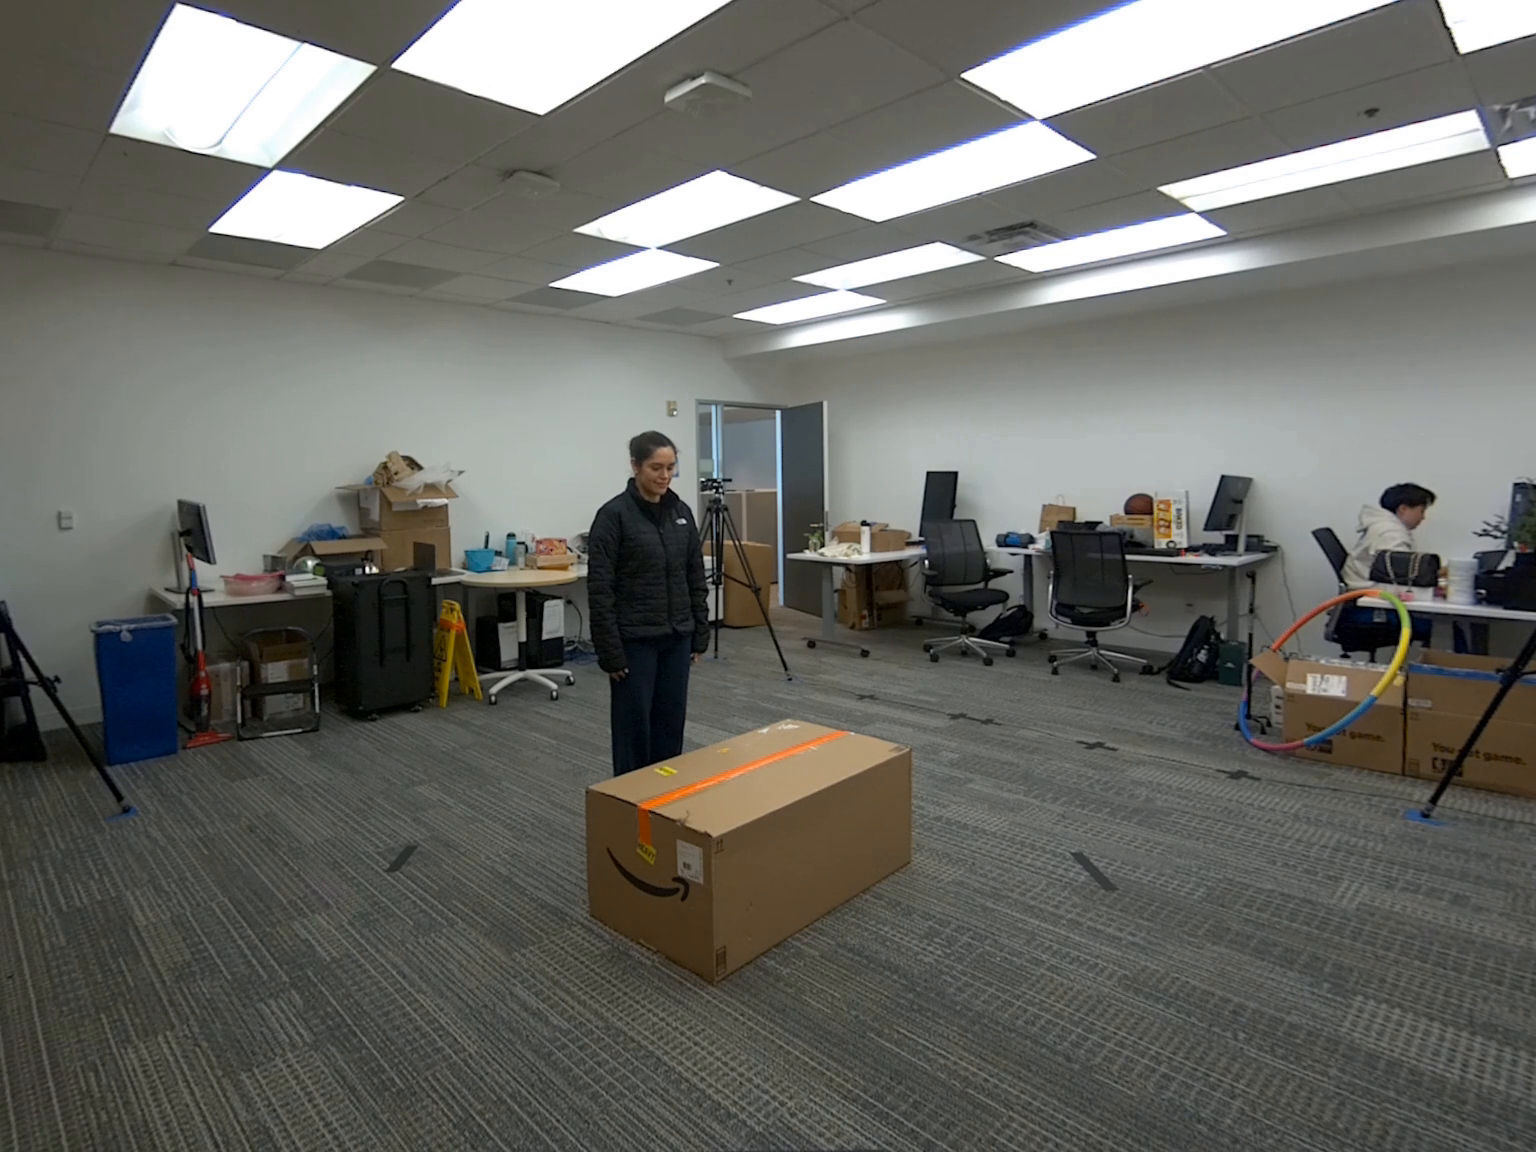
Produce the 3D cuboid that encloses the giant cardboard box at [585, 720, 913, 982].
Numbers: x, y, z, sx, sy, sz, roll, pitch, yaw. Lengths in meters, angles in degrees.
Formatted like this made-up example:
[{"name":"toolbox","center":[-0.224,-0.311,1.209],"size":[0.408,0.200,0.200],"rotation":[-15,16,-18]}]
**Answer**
[{"name":"giant cardboard box","center":[-0.032,0.852,2.916],"size":[0.595,0.424,0.999],"rotation":[3,7,42]}]
